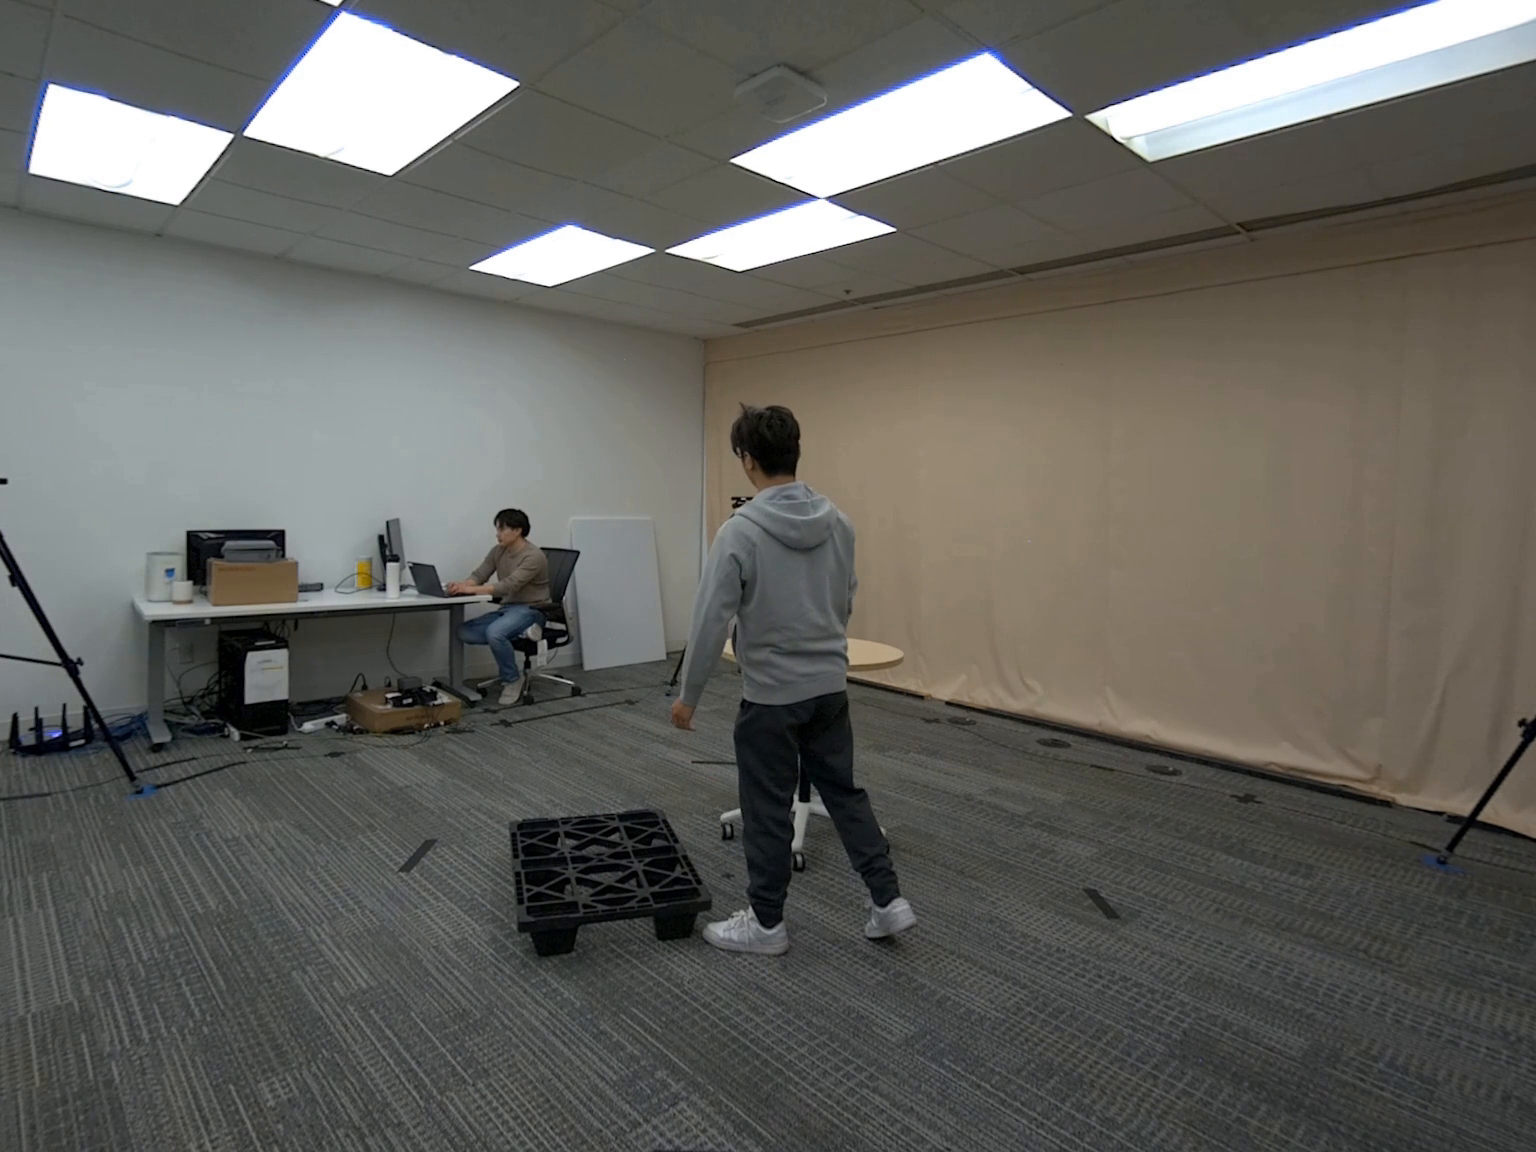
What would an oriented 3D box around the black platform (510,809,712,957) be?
[{"bbox_3d":[-0.589,1.045,2.949,0.597,0.143,0.819,0,6,-18],"label":"black platform"}]
